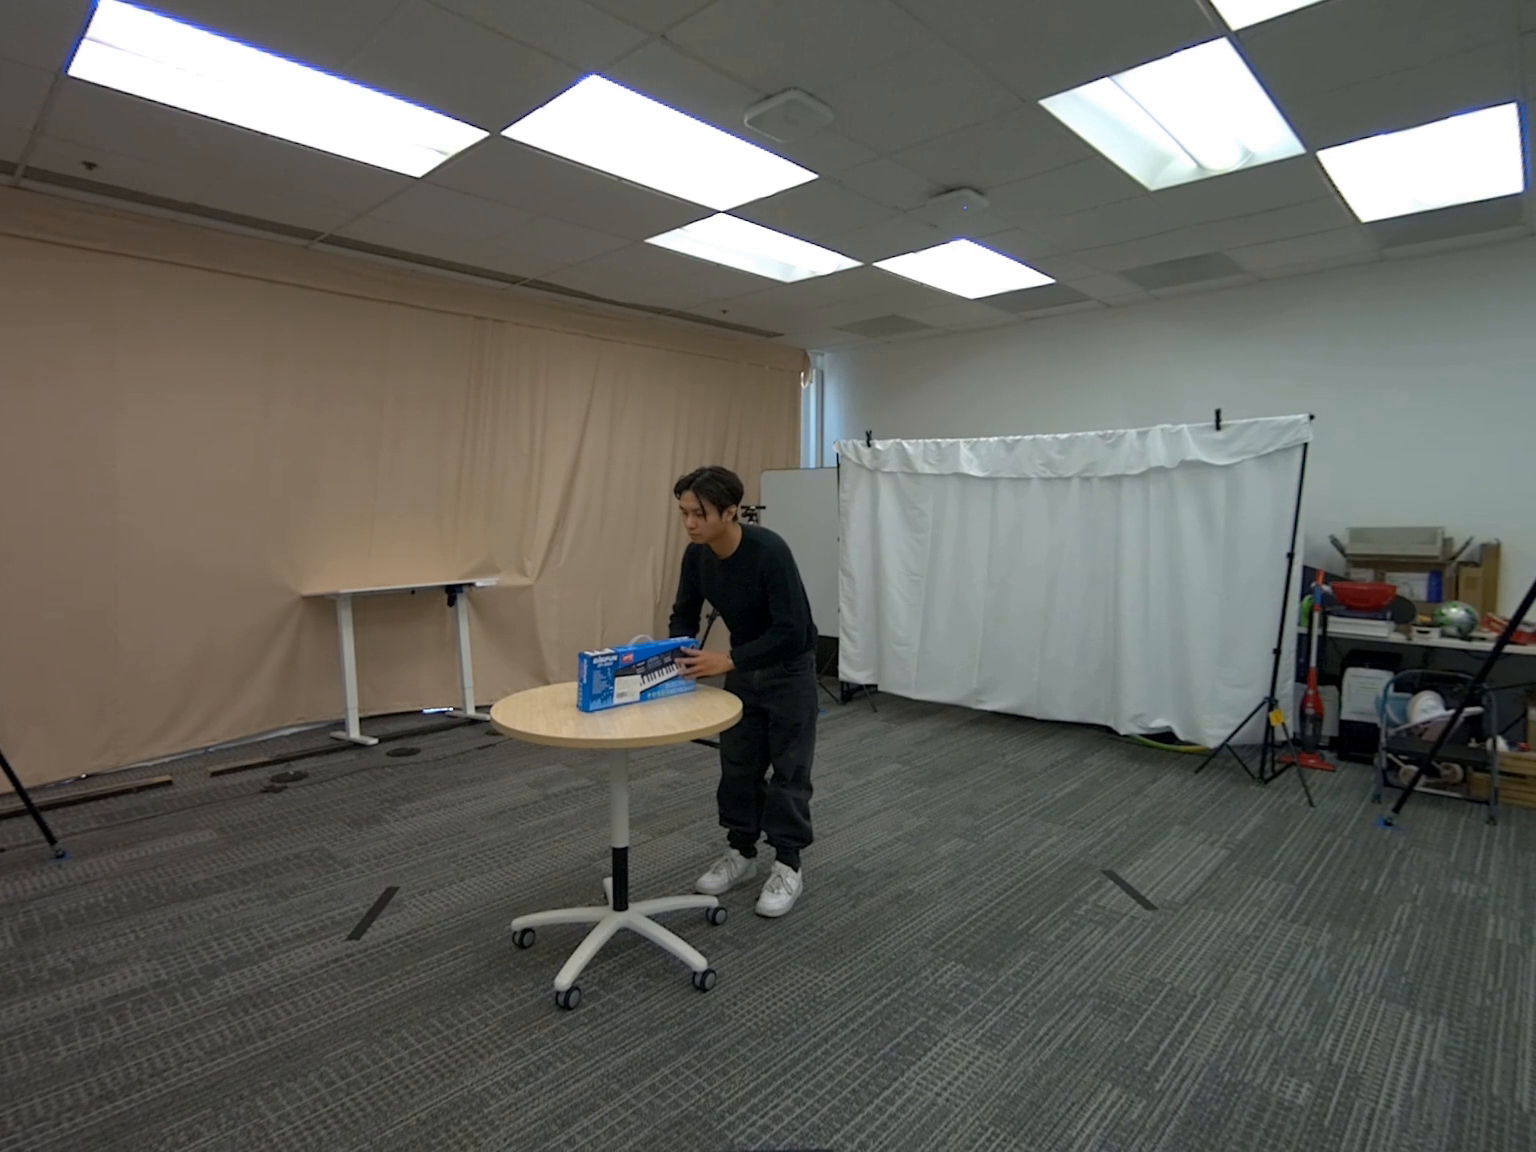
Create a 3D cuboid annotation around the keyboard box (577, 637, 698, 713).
[{"bbox_3d":[-0.405,0.308,2.641,0.061,0.175,0.423,7,7,44],"label":"keyboard box"}]
